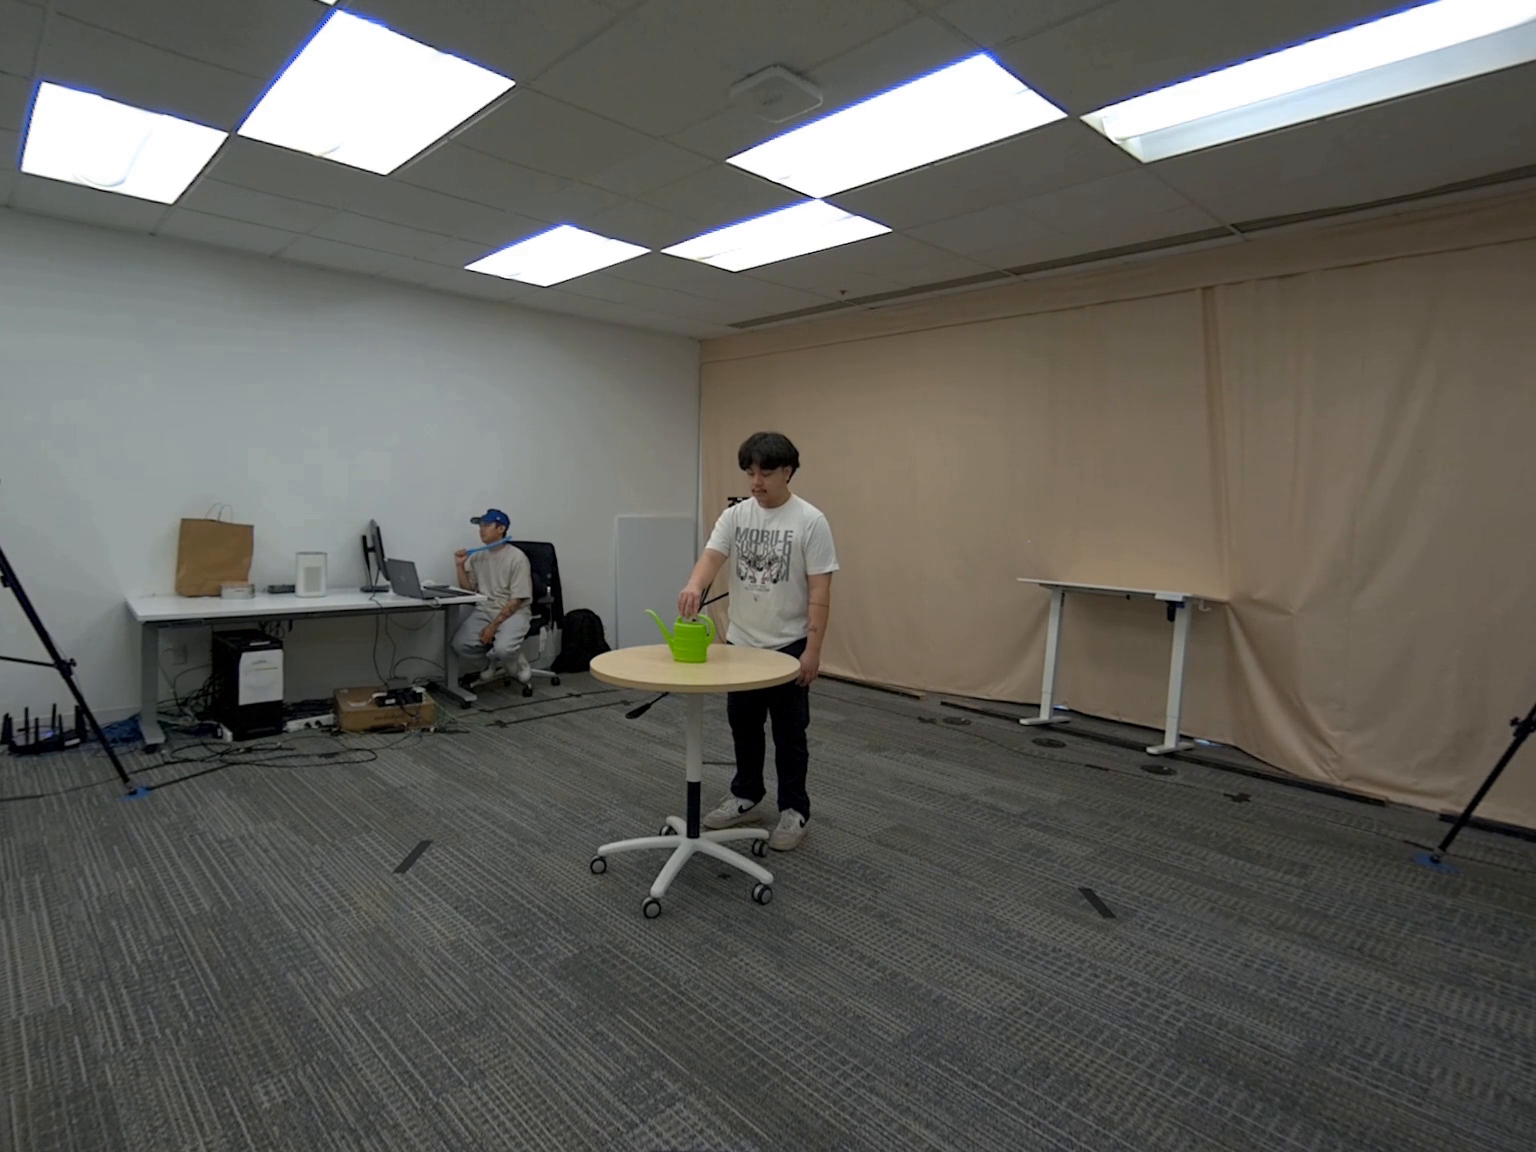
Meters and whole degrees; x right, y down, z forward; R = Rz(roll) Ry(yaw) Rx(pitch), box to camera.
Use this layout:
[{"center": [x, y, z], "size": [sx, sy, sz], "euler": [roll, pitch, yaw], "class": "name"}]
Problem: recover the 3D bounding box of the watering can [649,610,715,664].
[{"center": [-0.334, 0.227, 3.122], "size": [0.285, 0.176, 0.096], "euler": [5, 4, 34], "class": "watering can"}]
